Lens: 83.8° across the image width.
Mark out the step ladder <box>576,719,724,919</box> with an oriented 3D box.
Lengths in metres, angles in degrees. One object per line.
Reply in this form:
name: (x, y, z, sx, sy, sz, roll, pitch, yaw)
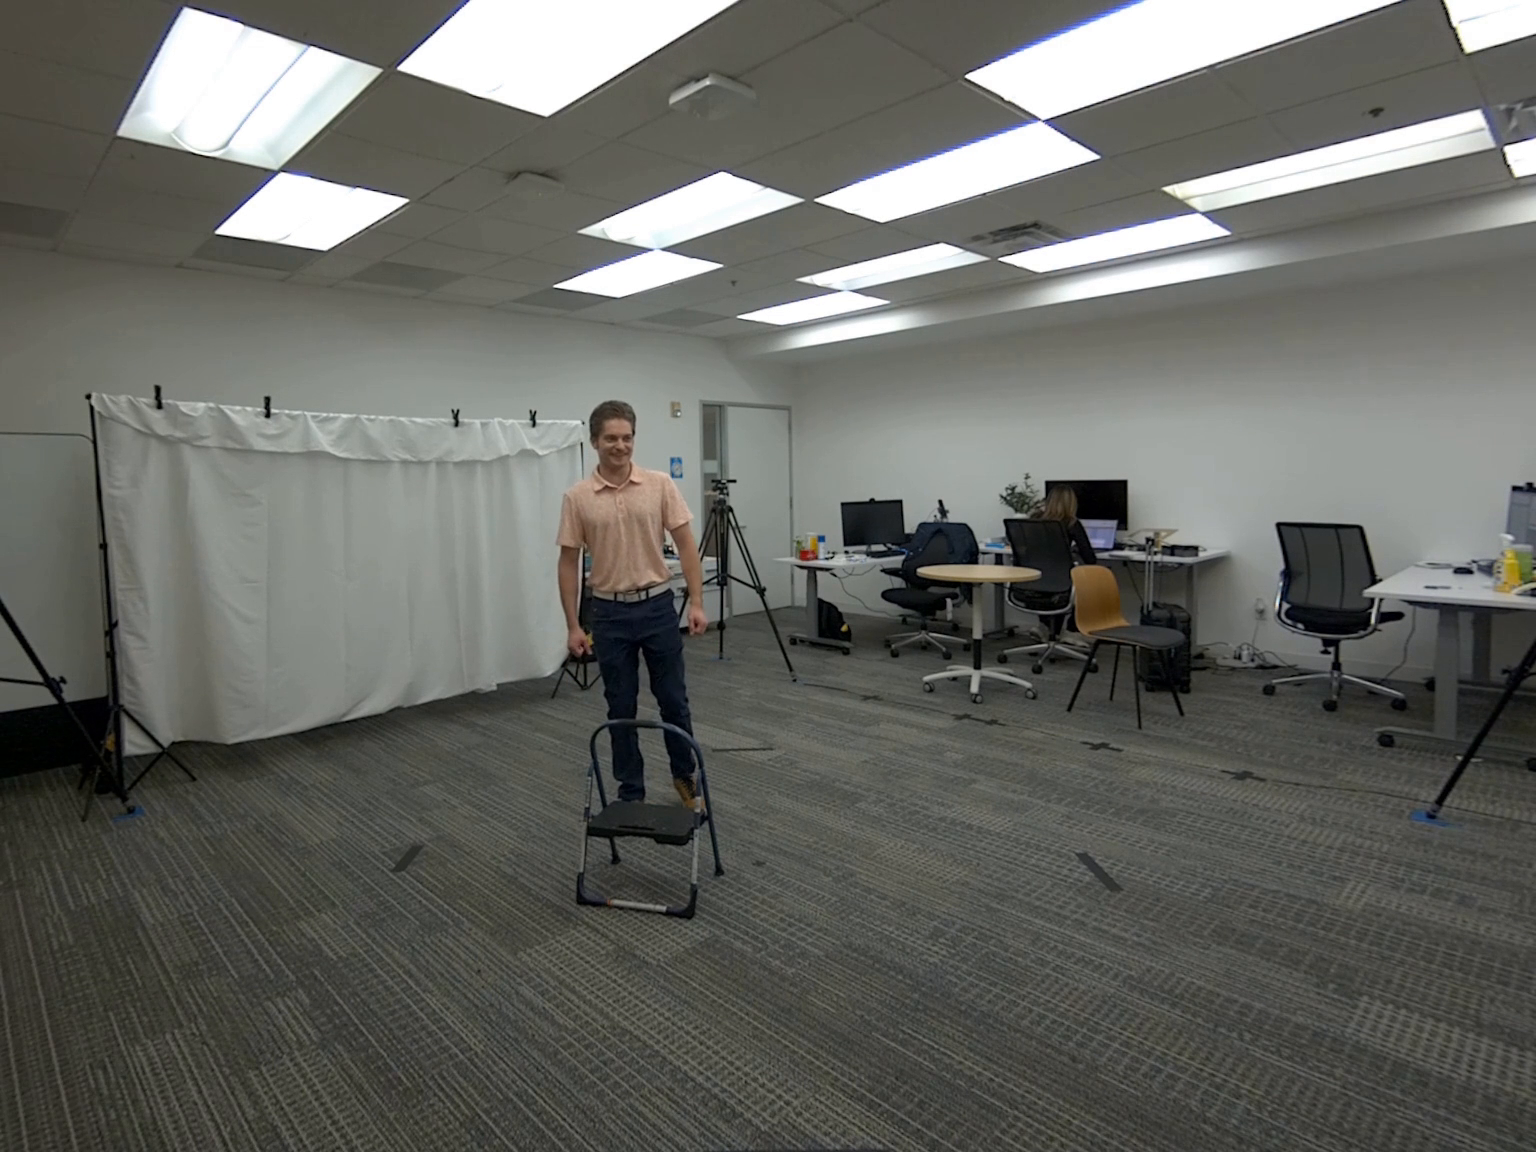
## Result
step ladder: (-0.403, 0.774, 2.924, 0.437, 0.604, 0.345, 0, 4, 15)
